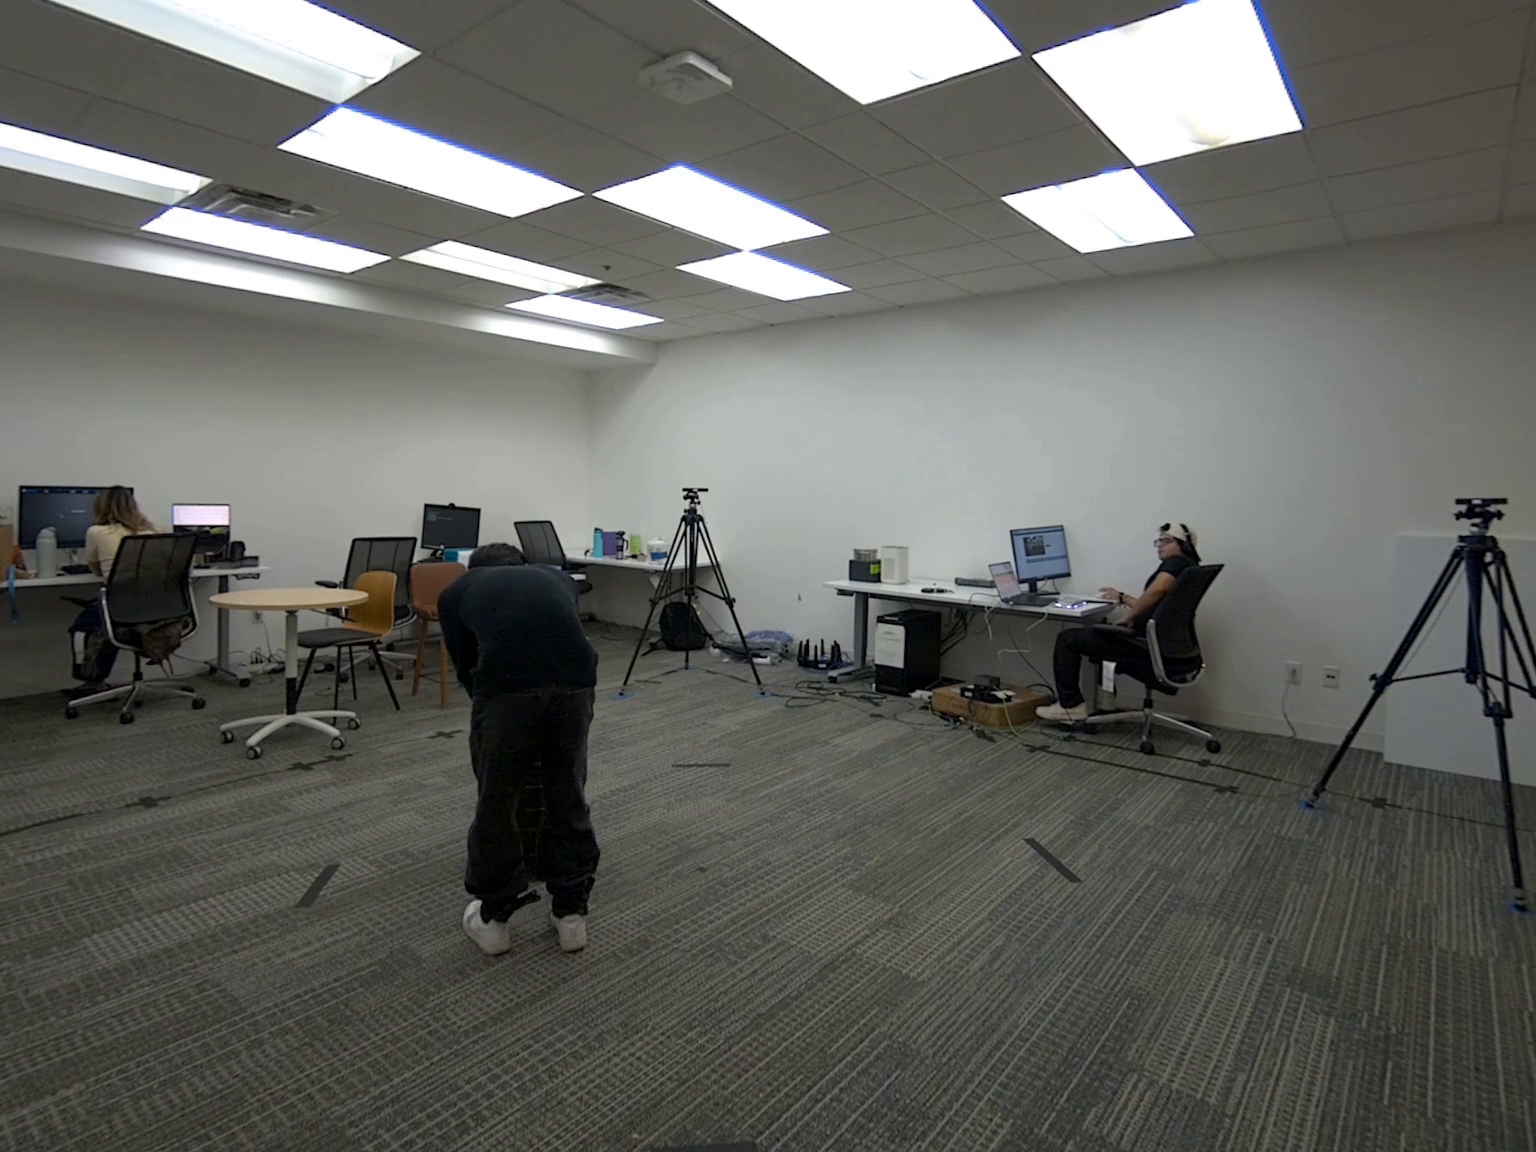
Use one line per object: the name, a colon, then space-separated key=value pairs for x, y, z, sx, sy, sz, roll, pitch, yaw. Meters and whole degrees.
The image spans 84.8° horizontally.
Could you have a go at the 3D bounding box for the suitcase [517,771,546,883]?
suitcase: x=-0.909 y=0.782 z=3.126 sx=0.249 sy=0.547 sz=0.375 roll=2 pitch=4 yaw=2
